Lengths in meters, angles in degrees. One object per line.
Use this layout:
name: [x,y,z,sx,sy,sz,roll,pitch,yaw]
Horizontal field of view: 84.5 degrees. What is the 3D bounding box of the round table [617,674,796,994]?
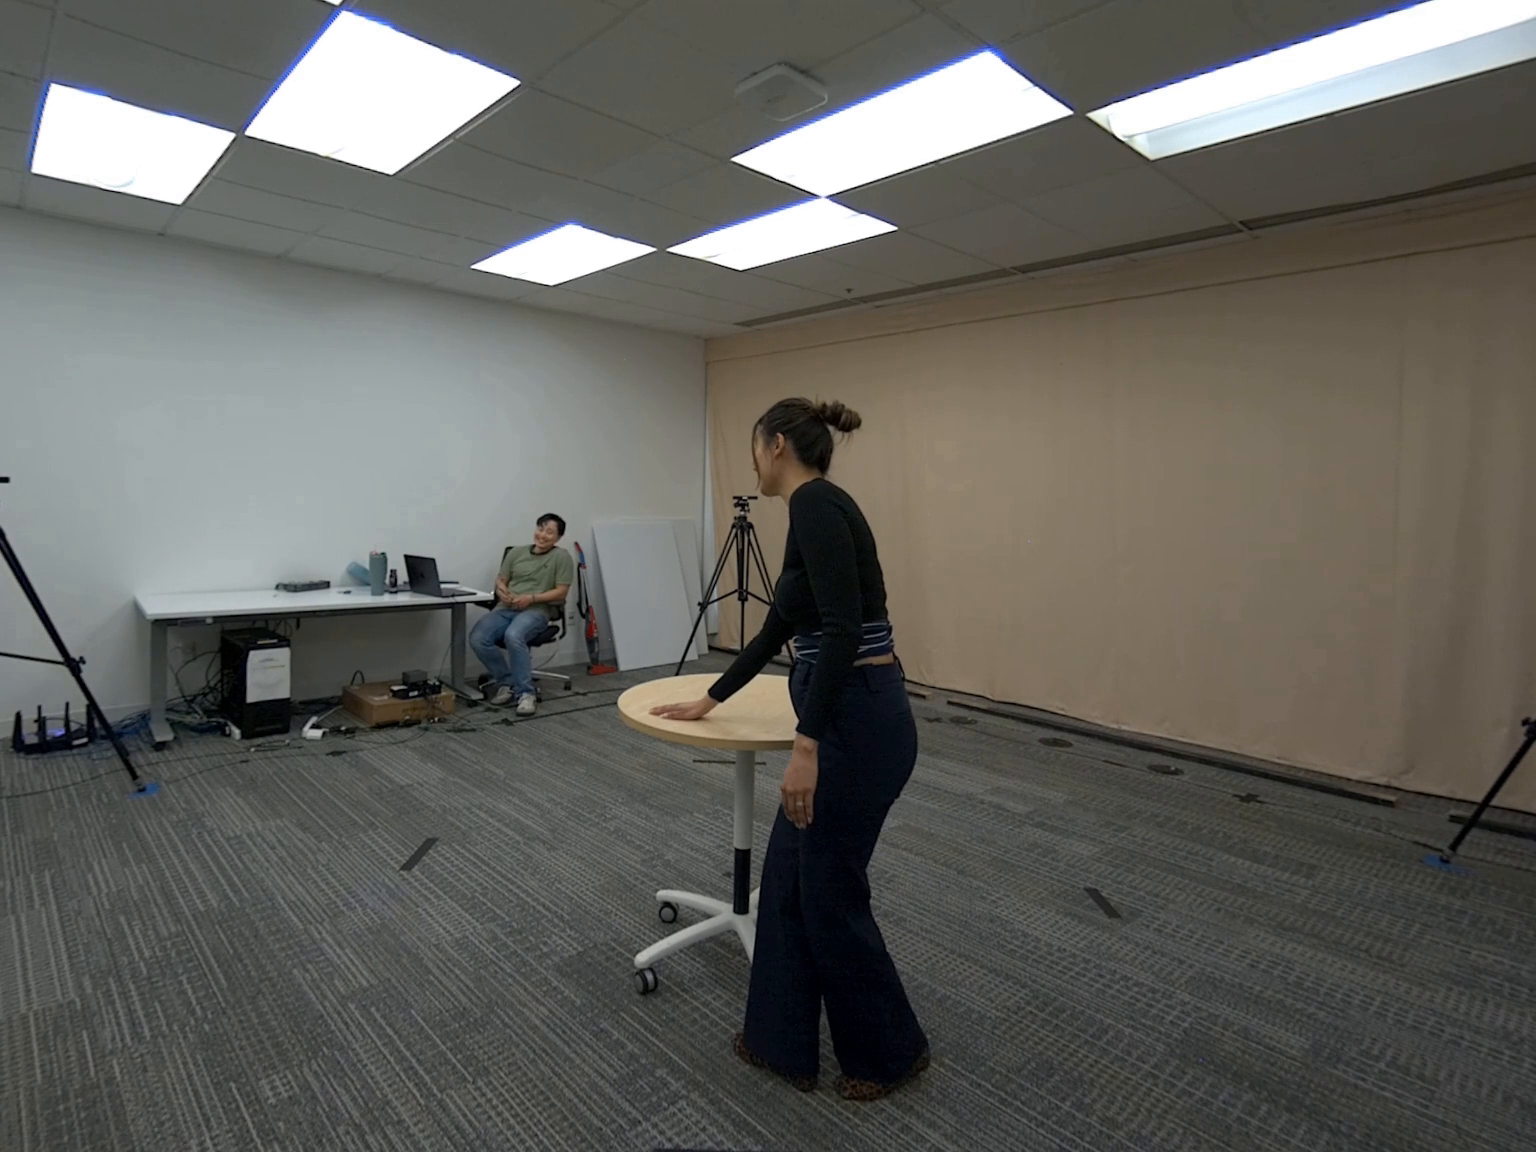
round table: [-0.083,0.770,2.529,0.763,0.791,0.767,1,4,-1]
